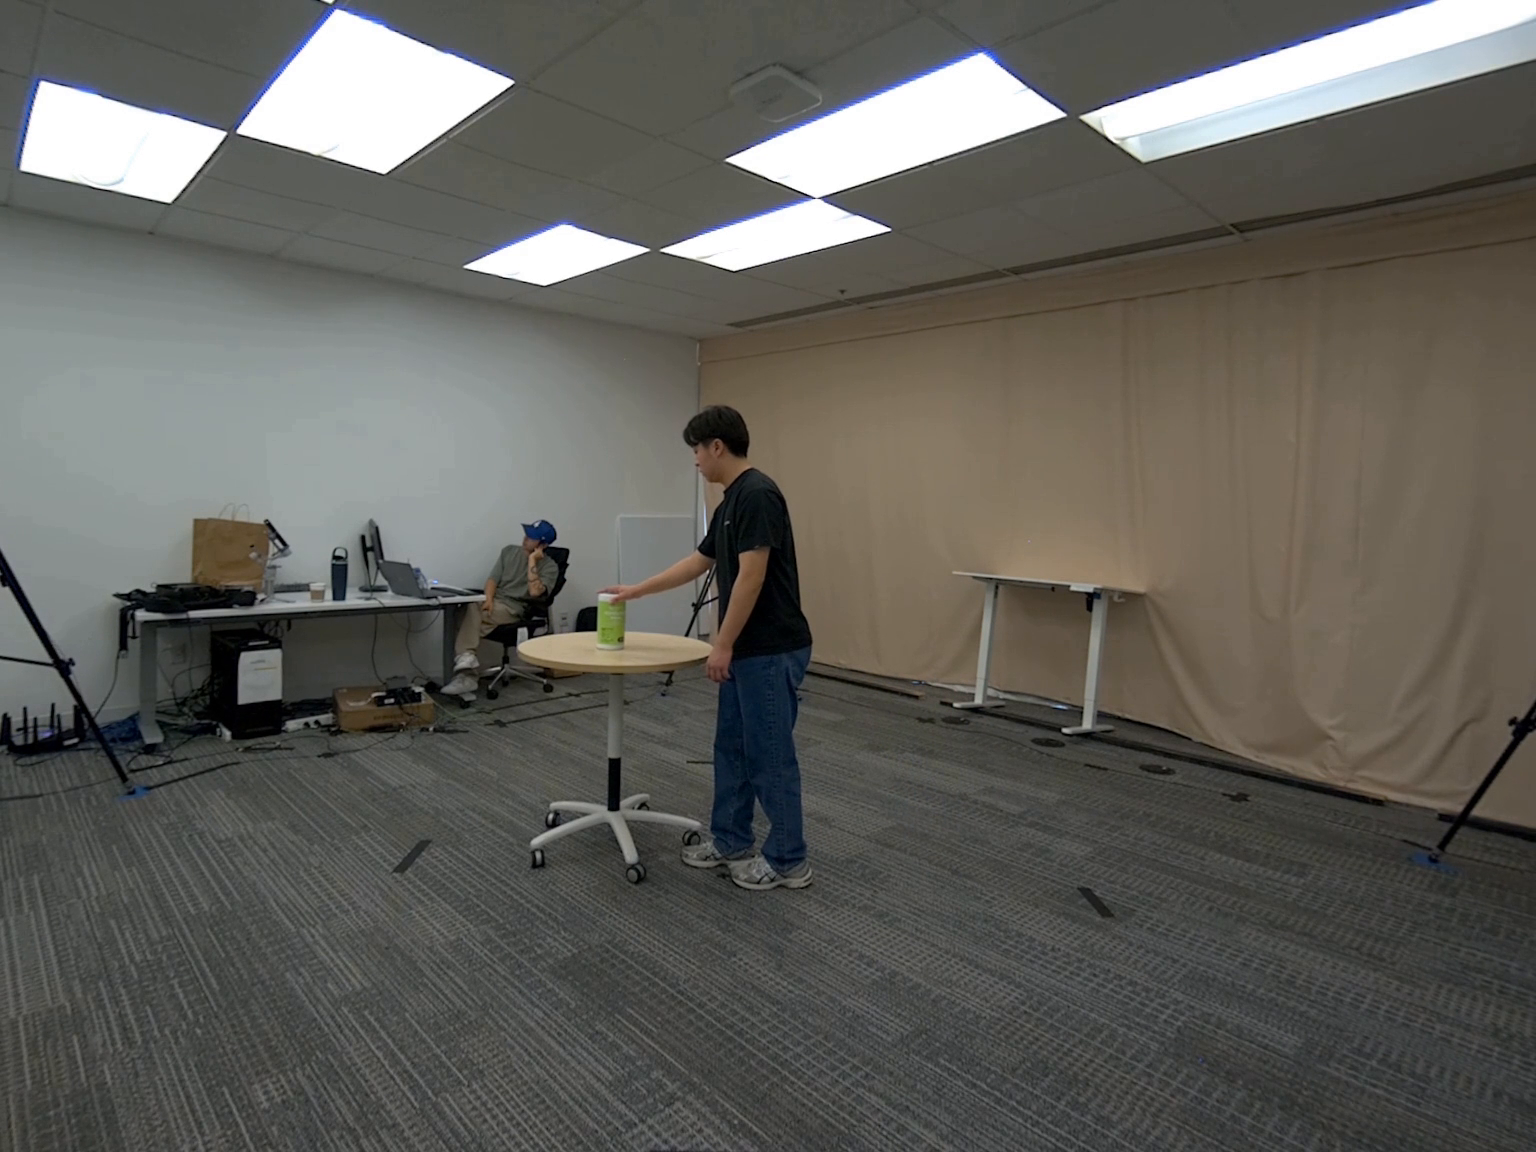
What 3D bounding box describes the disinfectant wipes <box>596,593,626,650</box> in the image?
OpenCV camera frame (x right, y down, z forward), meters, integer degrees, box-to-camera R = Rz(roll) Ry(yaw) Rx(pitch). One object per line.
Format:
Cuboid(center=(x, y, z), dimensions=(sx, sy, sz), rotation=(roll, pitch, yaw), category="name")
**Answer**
Cuboid(center=(-0.613, 0.177, 3.291), dimensions=(0.117, 0.216, 0.118), rotation=(4, 7, -2), category="disinfectant wipes")
